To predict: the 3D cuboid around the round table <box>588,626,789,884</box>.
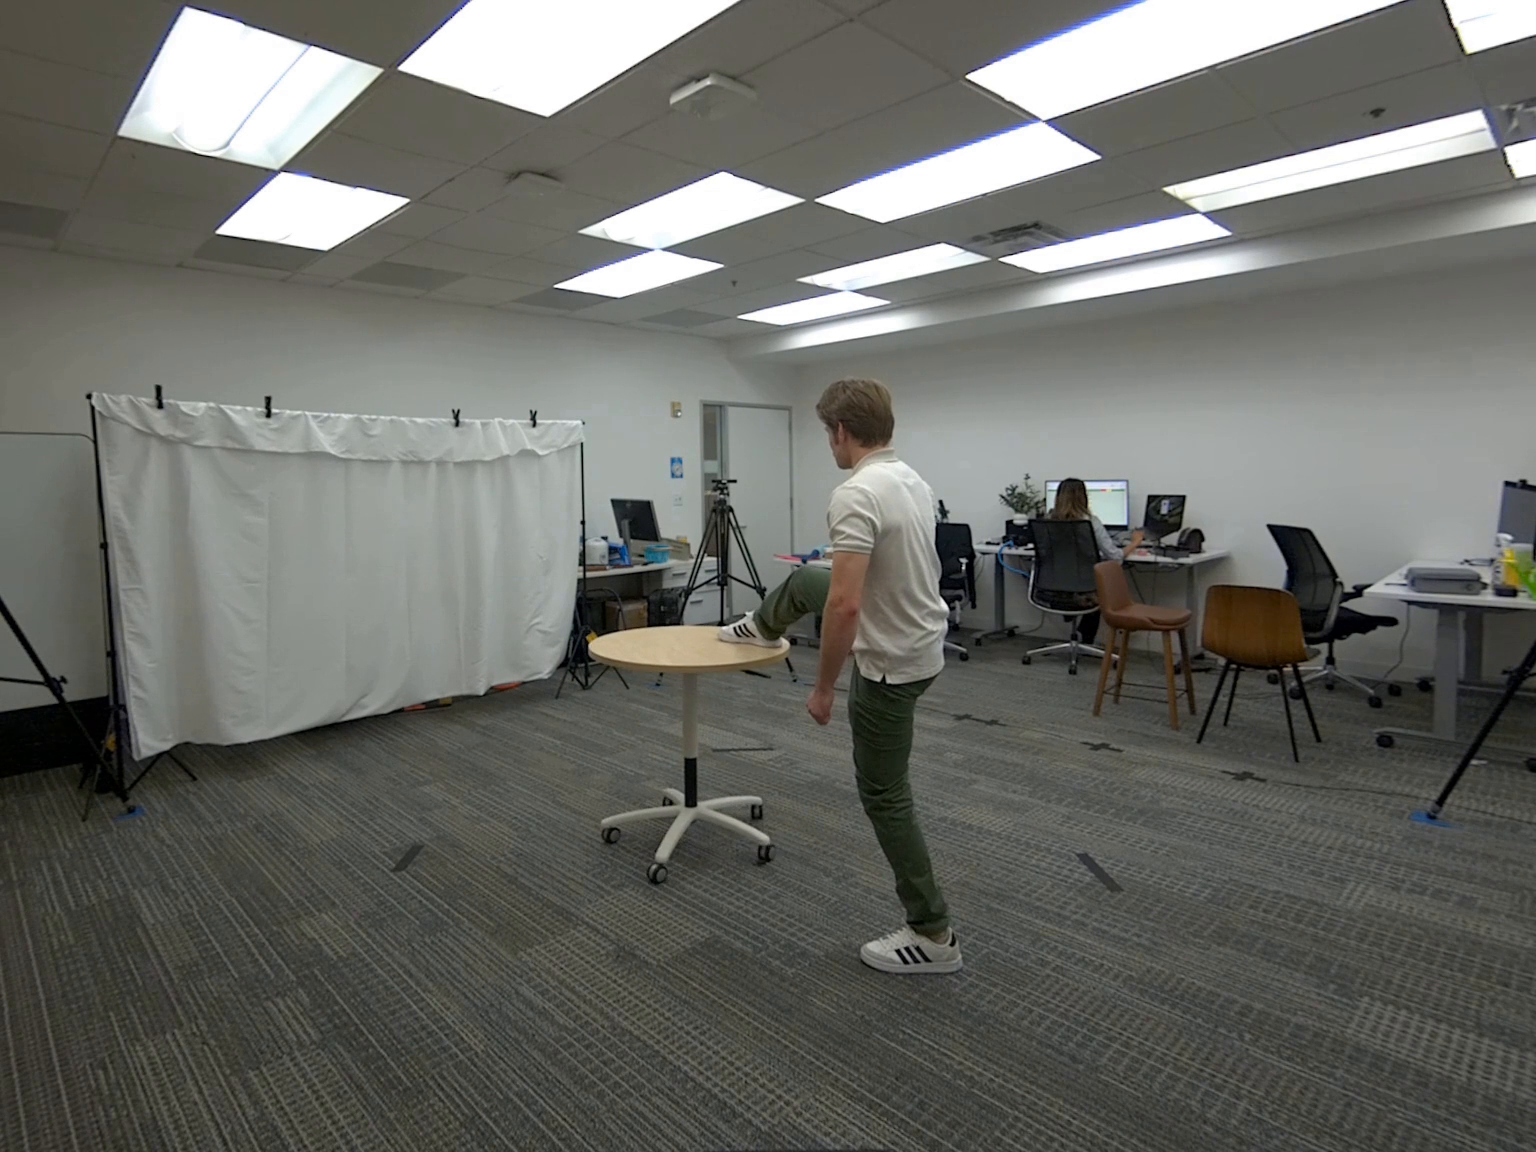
[{"bbox_3d":[-0.302,0.646,3.296,0.763,0.791,0.768,0,5,-2],"label":"round table"}]
